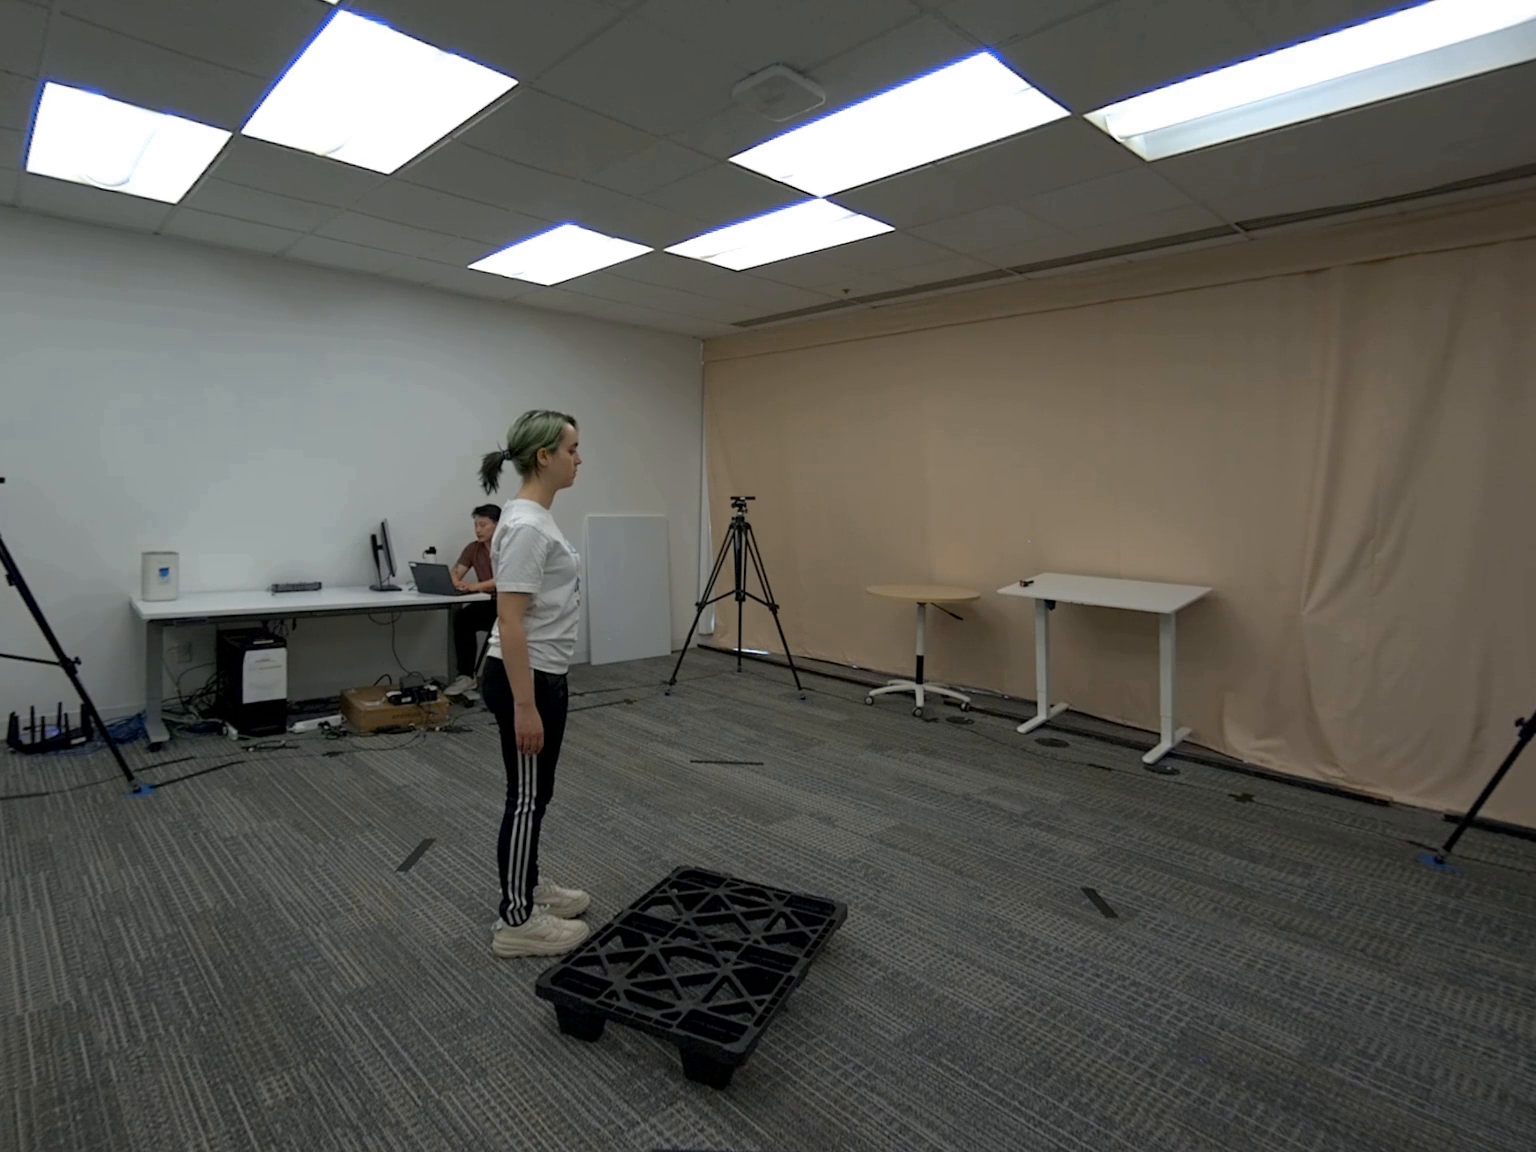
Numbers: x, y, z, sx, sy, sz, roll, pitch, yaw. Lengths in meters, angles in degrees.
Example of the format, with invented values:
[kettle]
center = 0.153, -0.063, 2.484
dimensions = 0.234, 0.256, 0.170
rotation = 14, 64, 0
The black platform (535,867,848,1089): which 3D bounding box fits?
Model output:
[black platform]
center = -0.182, 1.100, 2.400
dimensions = 0.617, 0.143, 0.793
rotation = 5, 6, 24
